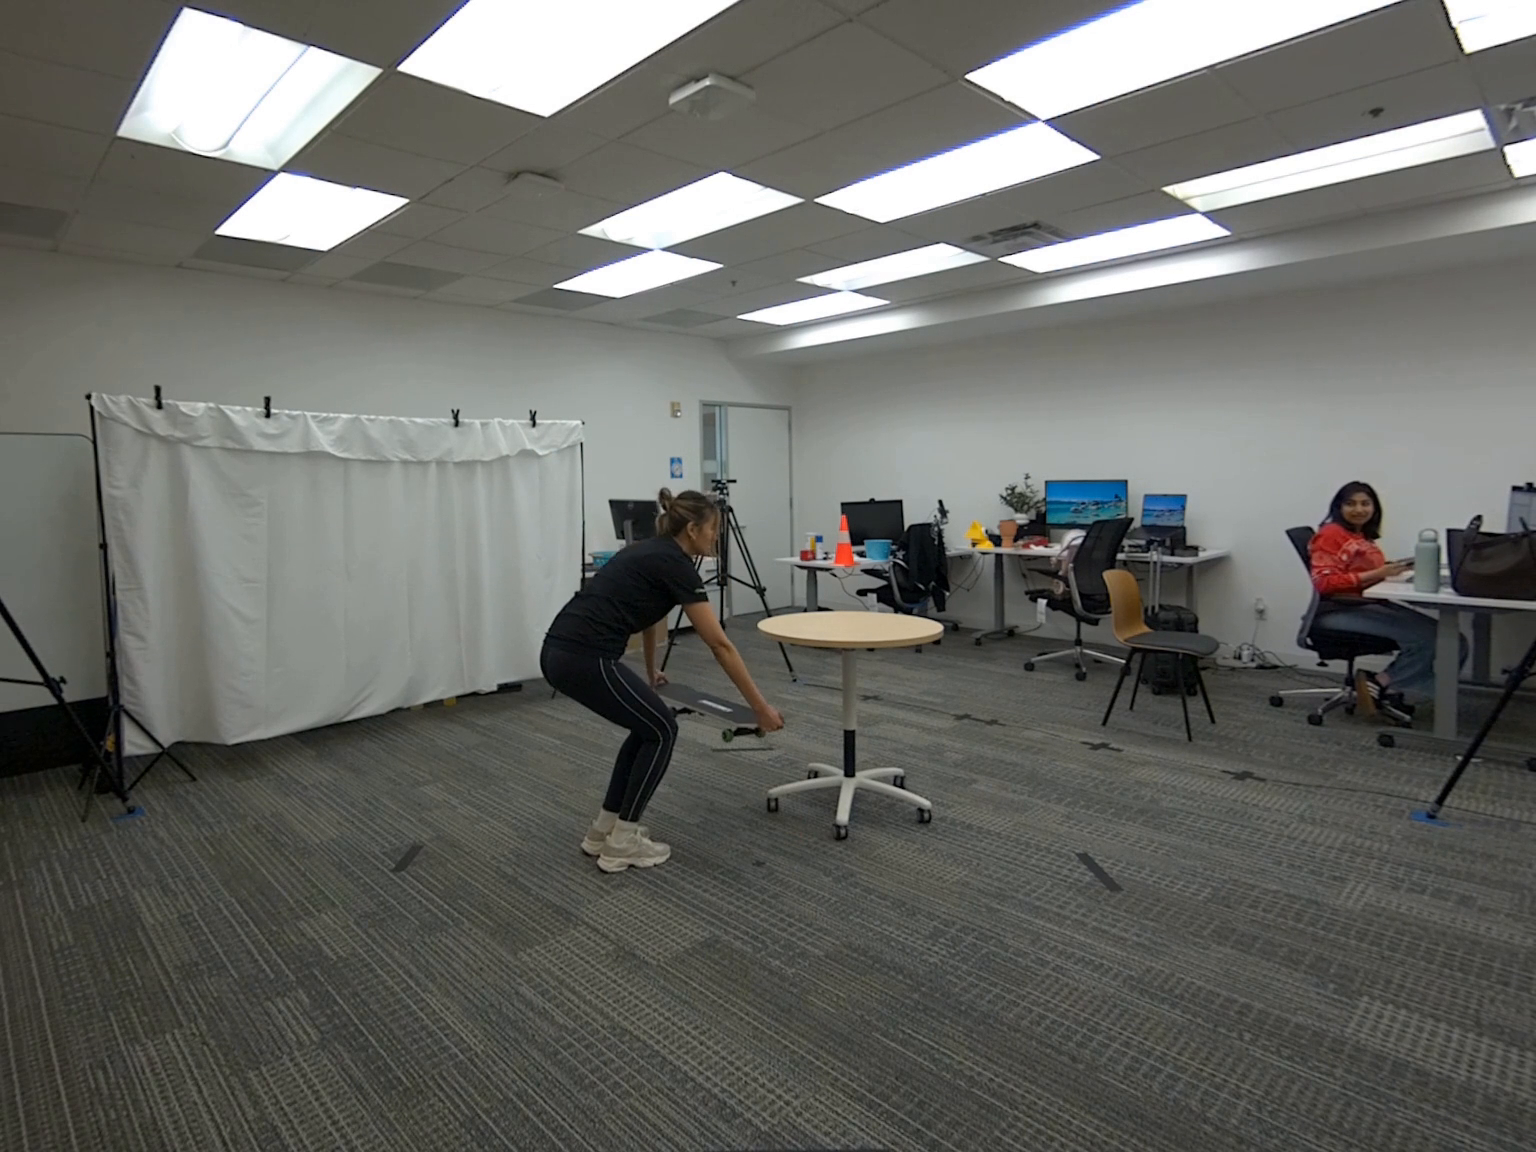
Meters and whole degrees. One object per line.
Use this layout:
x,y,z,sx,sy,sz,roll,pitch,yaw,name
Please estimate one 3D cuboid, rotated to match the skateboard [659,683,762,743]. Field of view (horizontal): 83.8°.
-0.207,0.552,3.404,0.188,0.110,0.809,0,4,-36,skateboard
